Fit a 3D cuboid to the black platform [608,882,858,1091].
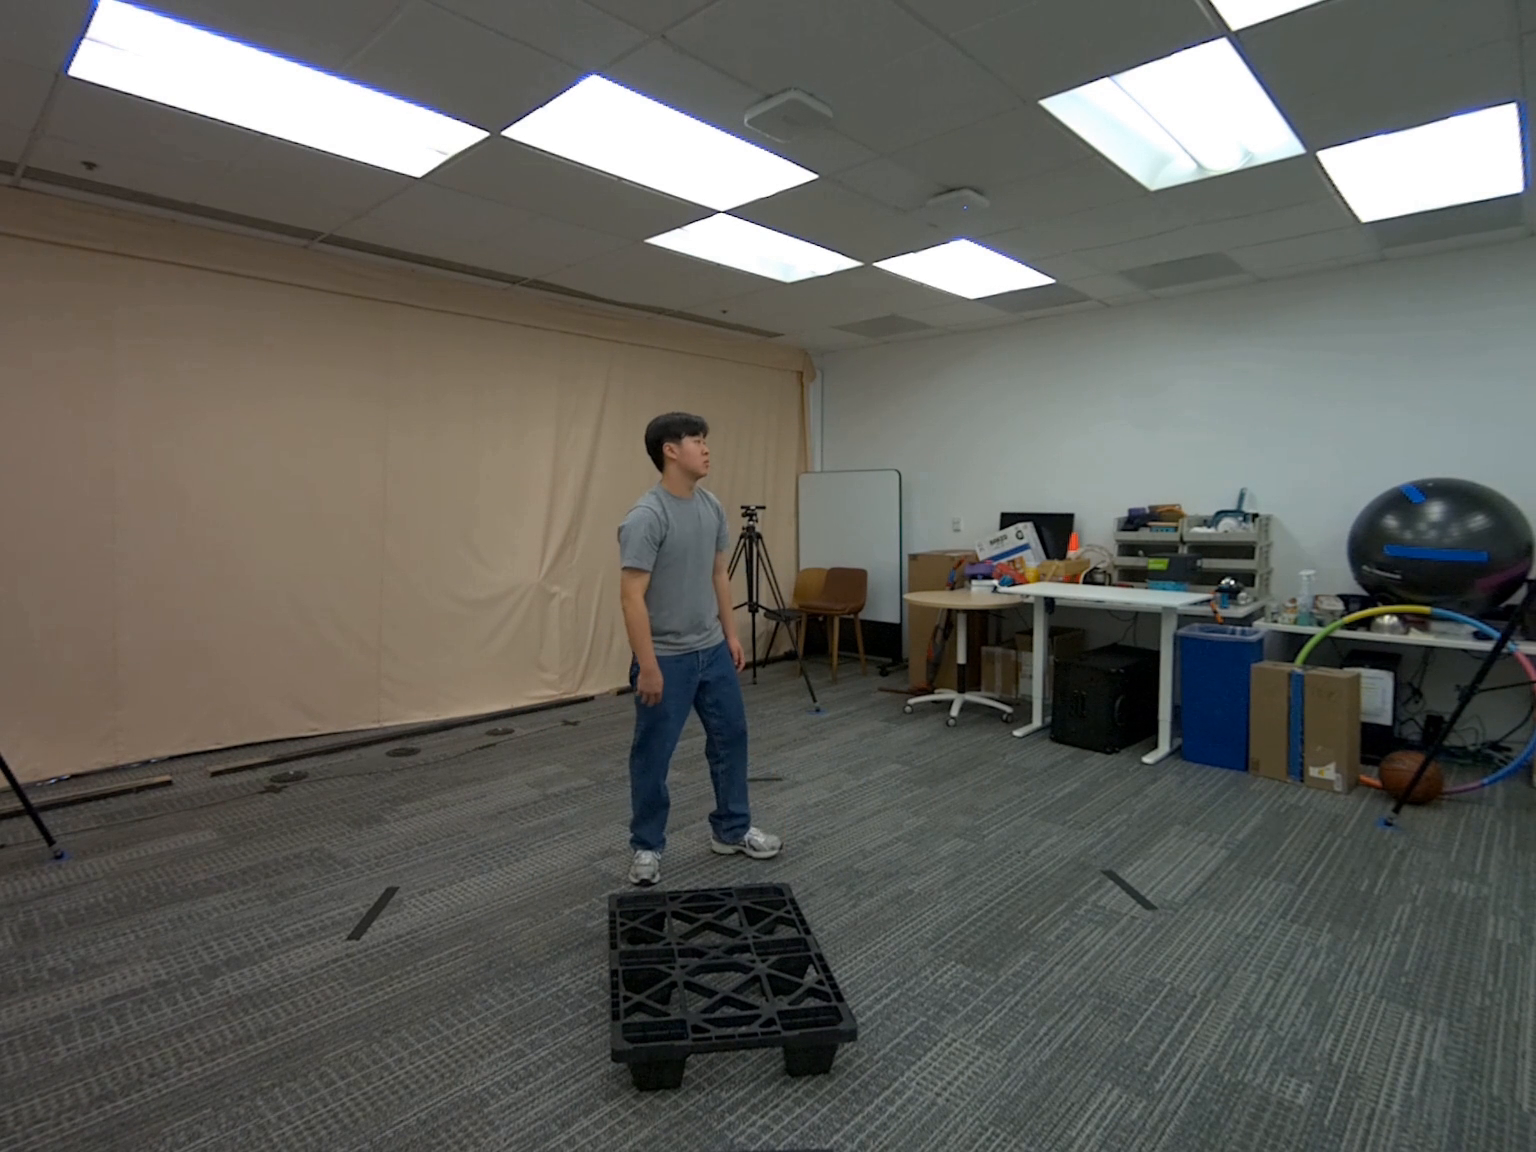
[{"bbox_3d":[-0.140,1.130,2.387,0.599,0.143,0.816,-1,5,-10],"label":"black platform"}]
